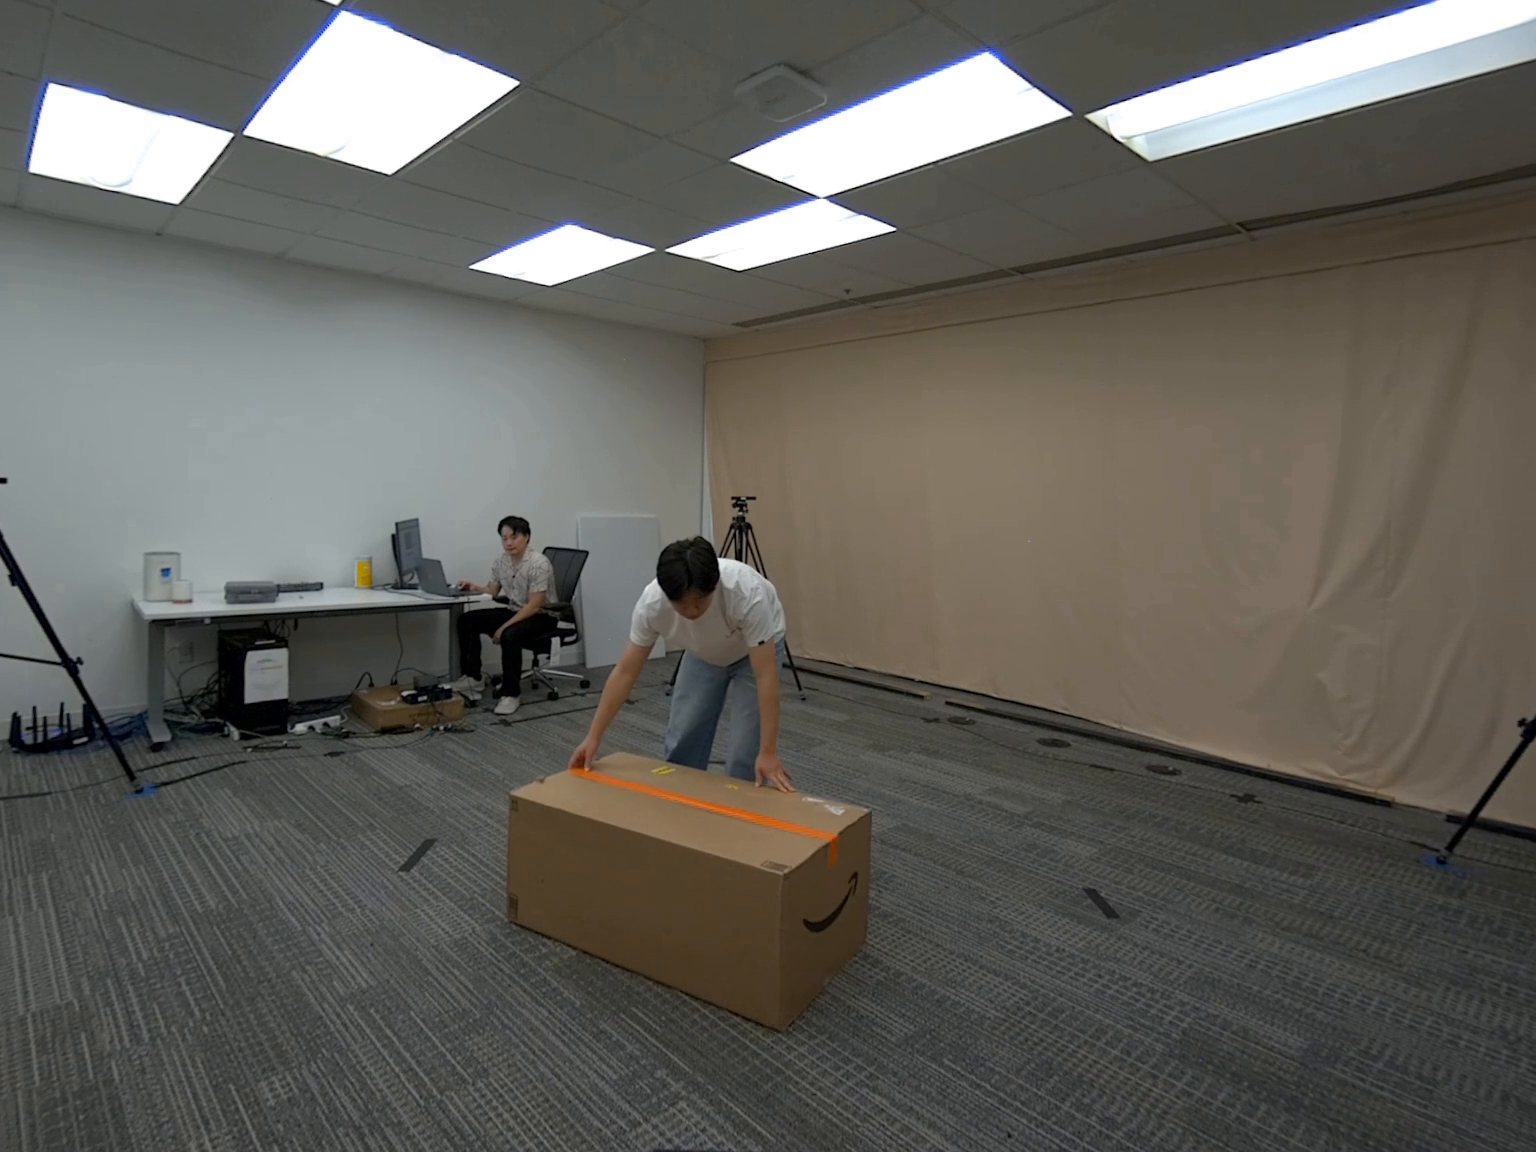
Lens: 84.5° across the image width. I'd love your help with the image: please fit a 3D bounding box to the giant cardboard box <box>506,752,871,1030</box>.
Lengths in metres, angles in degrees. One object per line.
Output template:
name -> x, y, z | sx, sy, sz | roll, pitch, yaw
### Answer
giant cardboard box -> -0.270, 0.927, 2.685 | 1.049, 0.425, 0.566 | 4, 4, 31
